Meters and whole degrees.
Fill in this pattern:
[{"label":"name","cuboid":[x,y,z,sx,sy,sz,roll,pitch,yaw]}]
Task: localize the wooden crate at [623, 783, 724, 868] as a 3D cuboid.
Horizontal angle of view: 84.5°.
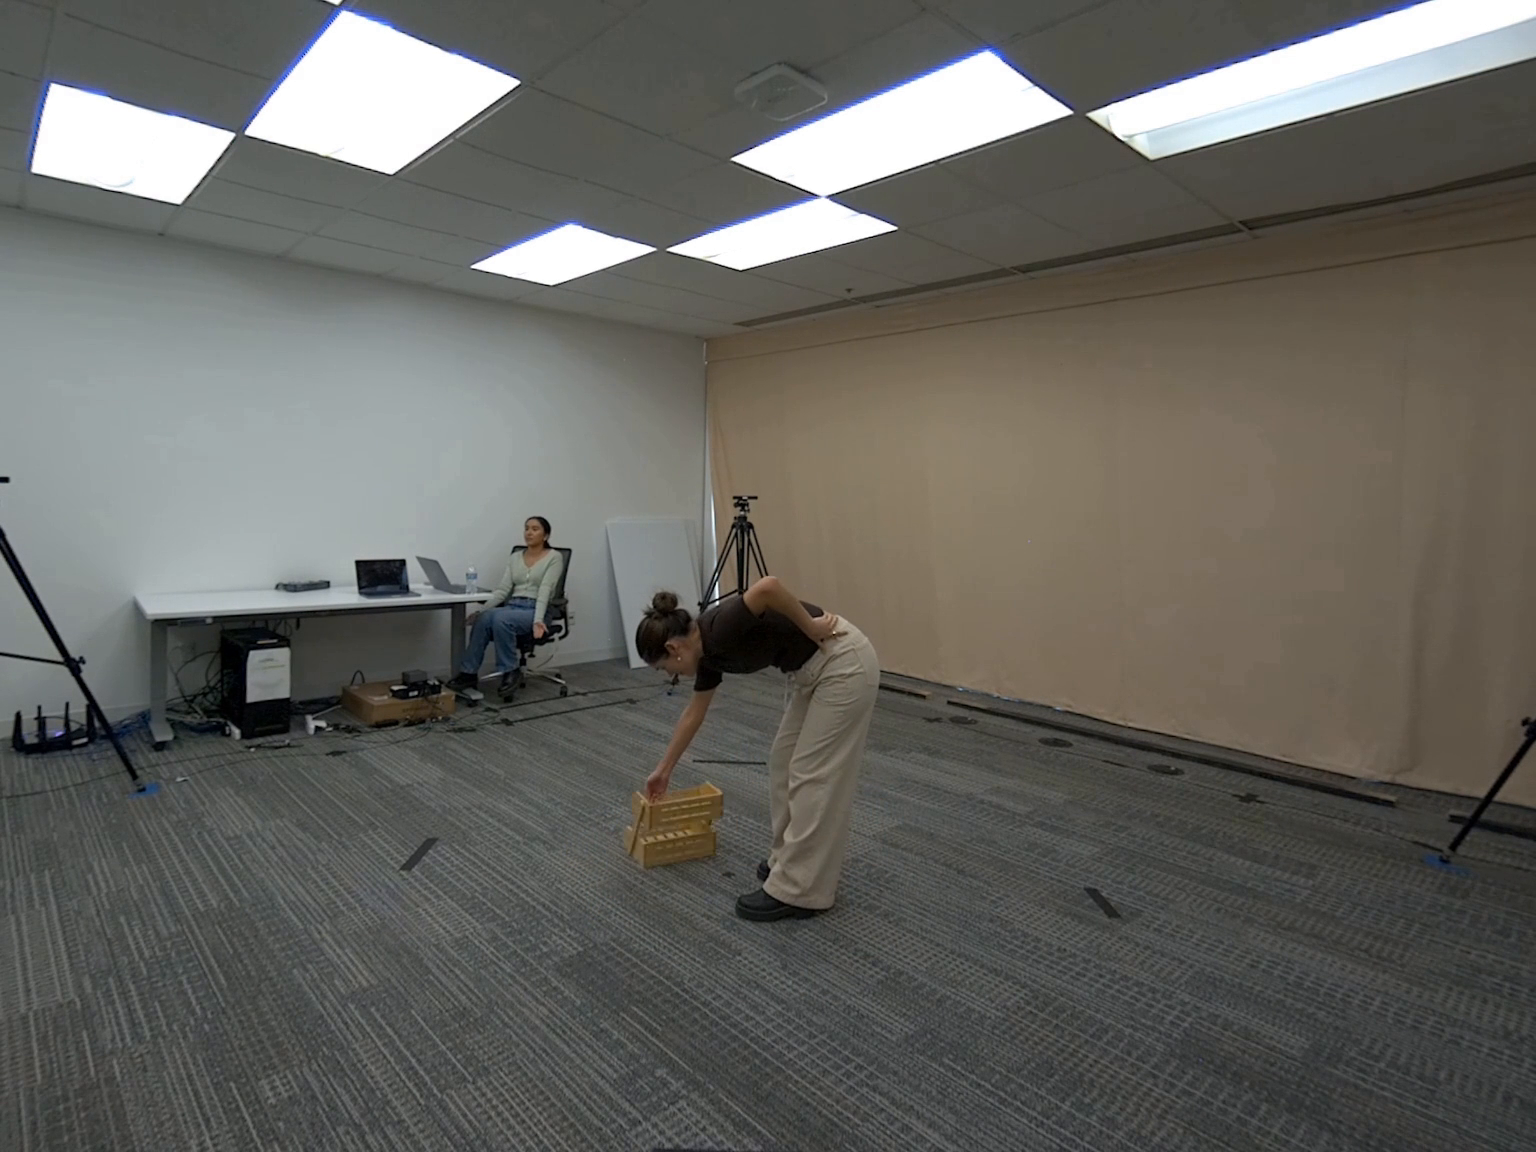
[{"label":"wooden crate","cuboid":[-0.382,0.946,3.282,0.318,0.272,0.309,-1,6,-28]}]
